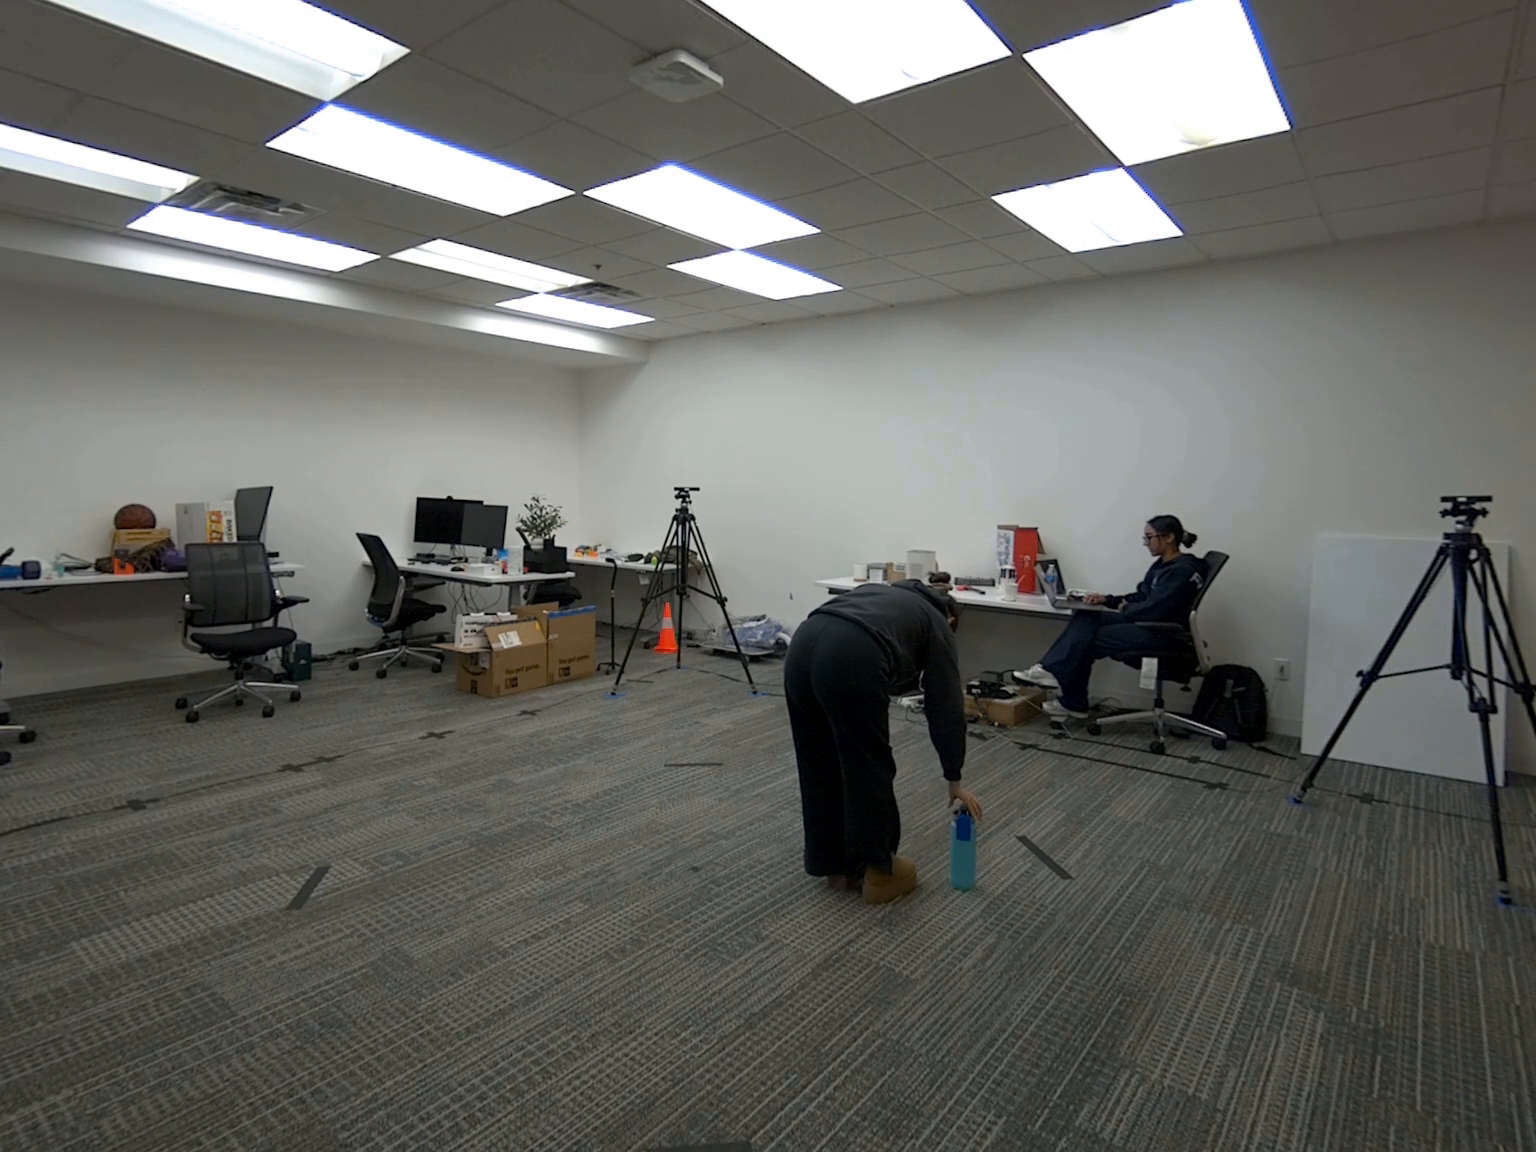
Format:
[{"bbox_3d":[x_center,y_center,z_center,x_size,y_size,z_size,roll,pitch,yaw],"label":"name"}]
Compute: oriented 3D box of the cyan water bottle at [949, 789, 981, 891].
[{"bbox_3d":[0.700,0.953,3.019,0.092,0.282,0.093,1,6,-2],"label":"cyan water bottle"}]
